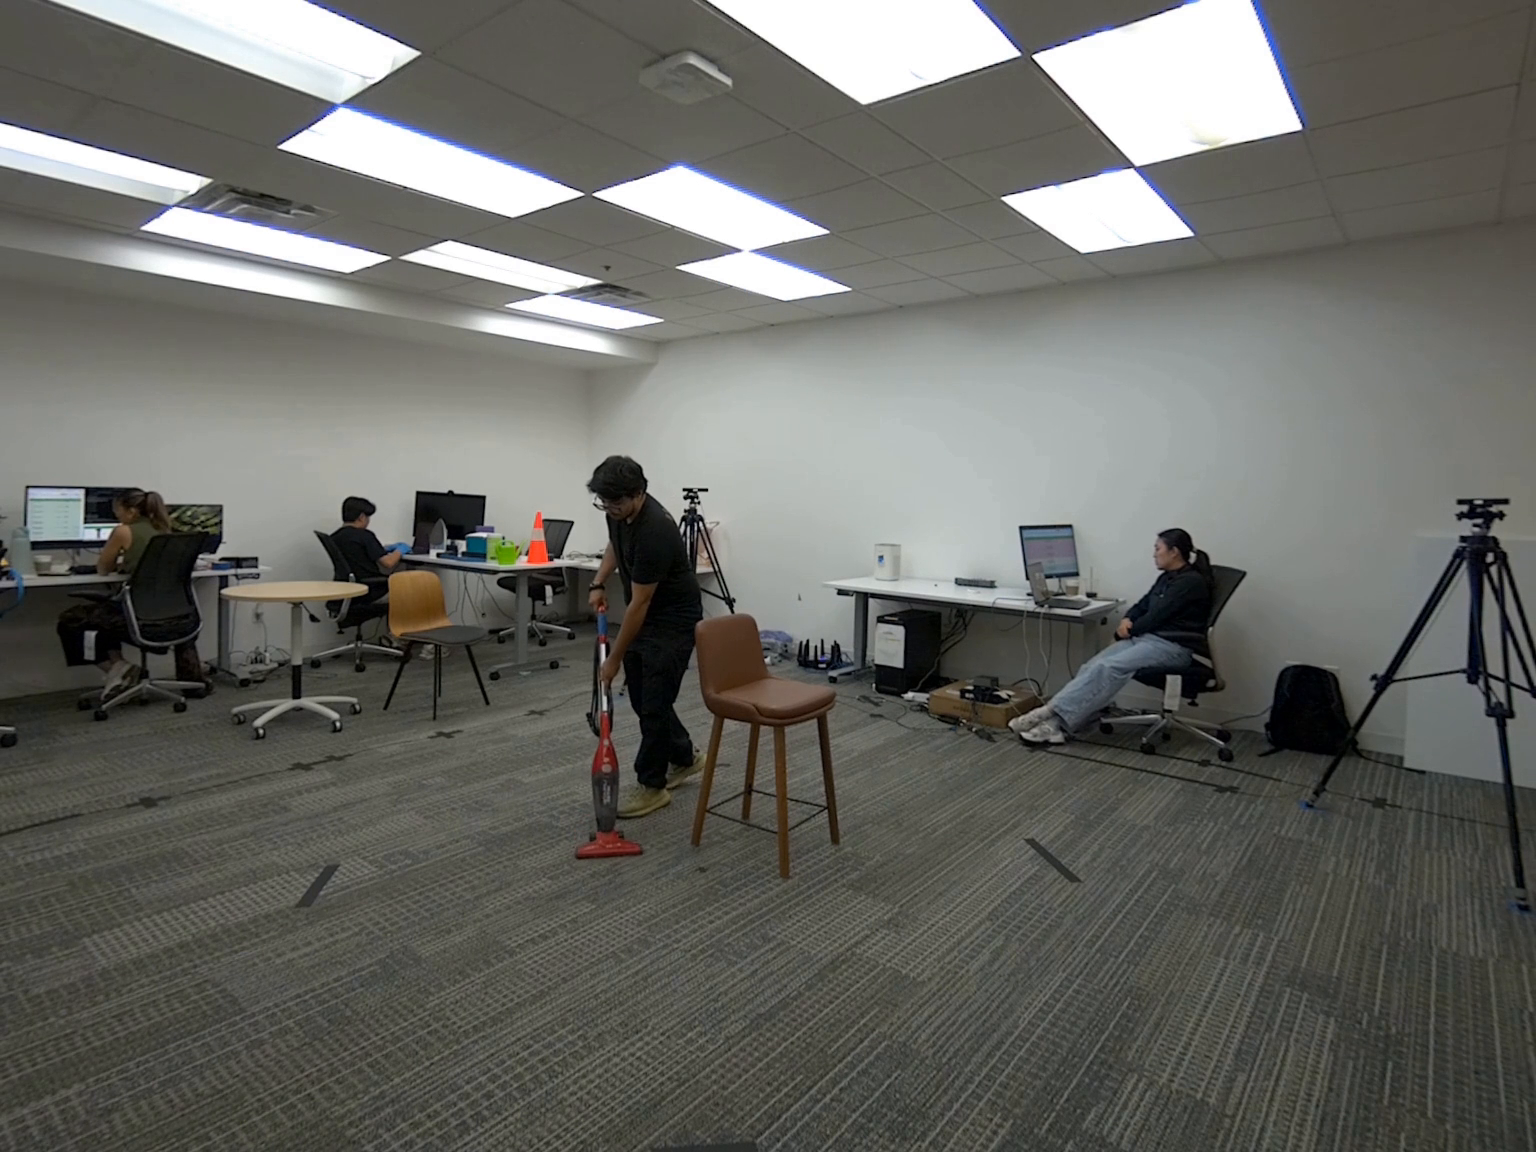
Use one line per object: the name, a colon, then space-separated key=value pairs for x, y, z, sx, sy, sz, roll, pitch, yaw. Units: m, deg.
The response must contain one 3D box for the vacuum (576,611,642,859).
vacuum: x=-0.694 y=0.579 z=3.531 sx=0.248 sy=1.079 sz=0.142 roll=1 pitch=-31 yaw=-16
